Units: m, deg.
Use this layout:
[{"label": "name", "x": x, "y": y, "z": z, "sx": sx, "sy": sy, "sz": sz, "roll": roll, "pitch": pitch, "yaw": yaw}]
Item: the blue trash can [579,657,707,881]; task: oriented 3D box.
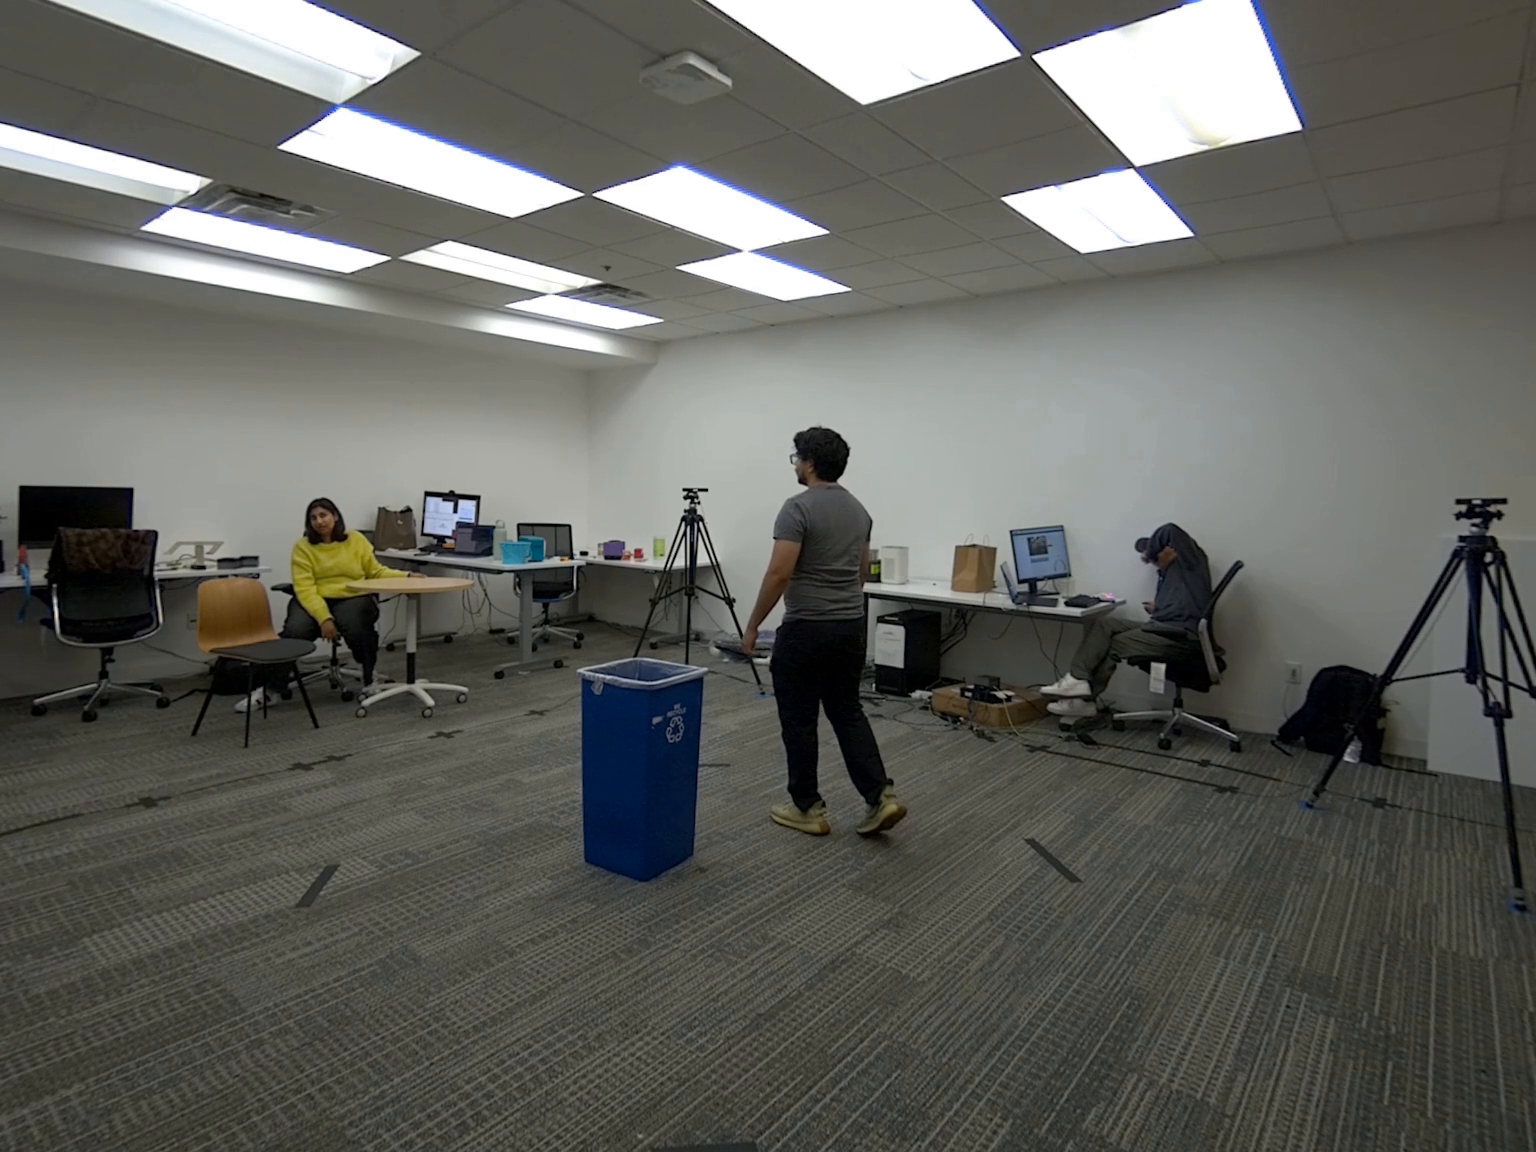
[{"label": "blue trash can", "x": -0.483, "y": 0.700, "z": 3.188, "sx": 0.390, "sy": 0.712, "sz": 0.364, "roll": 3, "pitch": 4, "yaw": 32}]
